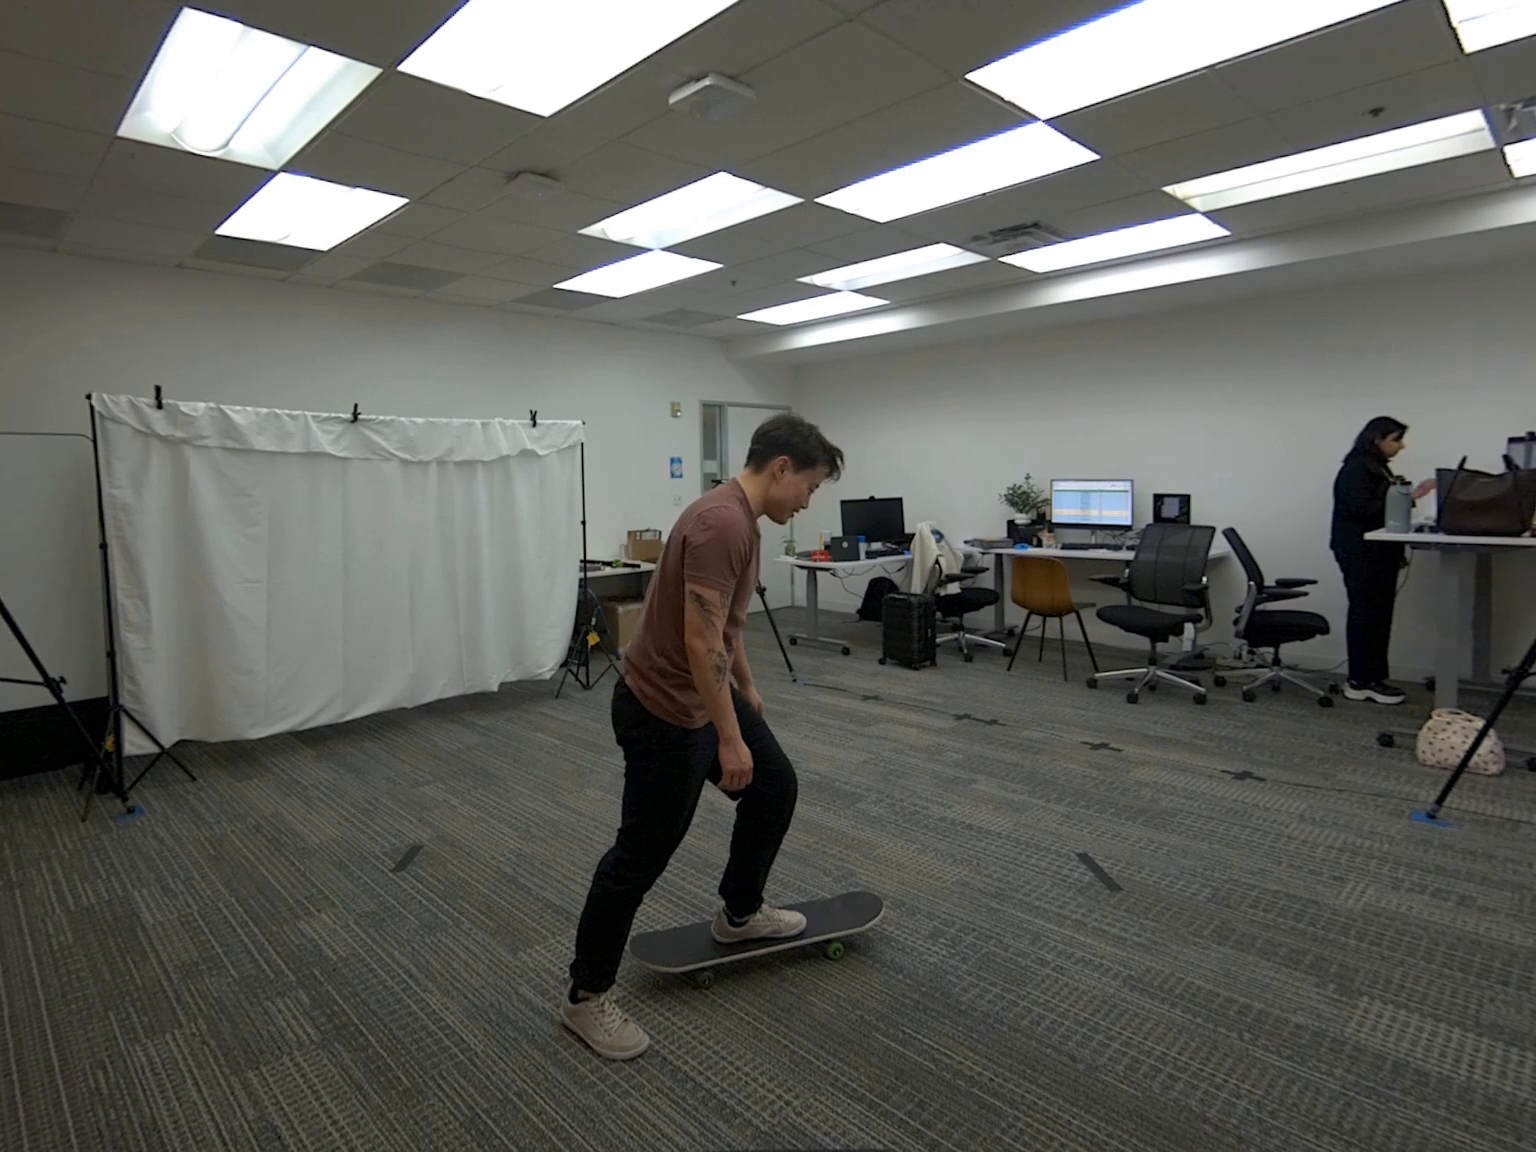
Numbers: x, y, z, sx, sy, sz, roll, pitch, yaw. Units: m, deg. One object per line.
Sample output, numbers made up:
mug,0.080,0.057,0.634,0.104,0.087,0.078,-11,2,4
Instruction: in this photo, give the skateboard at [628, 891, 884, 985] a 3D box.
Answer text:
skateboard,-0.013,1.058,2.497,0.772,0.109,0.198,-3,9,-19
